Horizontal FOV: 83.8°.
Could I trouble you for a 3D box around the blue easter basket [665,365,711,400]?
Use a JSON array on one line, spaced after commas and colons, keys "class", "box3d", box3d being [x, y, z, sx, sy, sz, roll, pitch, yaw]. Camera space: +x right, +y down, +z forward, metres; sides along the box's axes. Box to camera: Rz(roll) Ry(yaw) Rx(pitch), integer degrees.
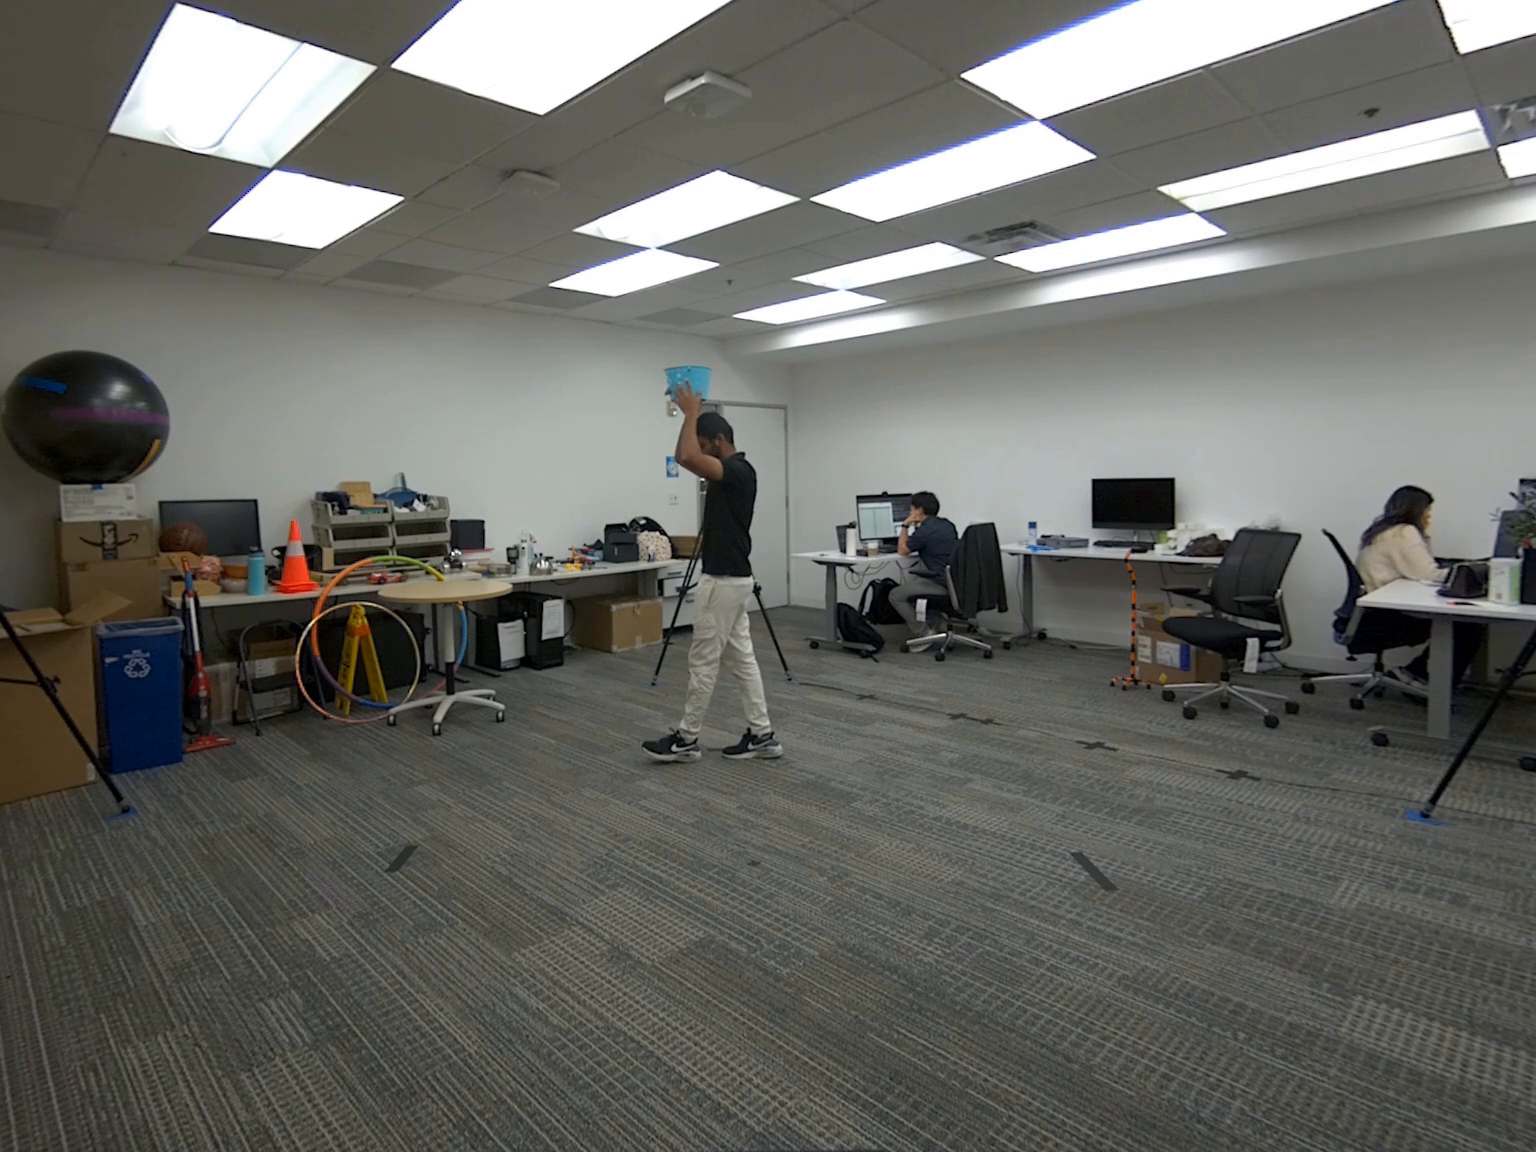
[{"class": "blue easter basket", "box3d": [-0.392, -0.947, 4.208, 0.243, 0.156, 0.244, -4, 3, -2]}]
